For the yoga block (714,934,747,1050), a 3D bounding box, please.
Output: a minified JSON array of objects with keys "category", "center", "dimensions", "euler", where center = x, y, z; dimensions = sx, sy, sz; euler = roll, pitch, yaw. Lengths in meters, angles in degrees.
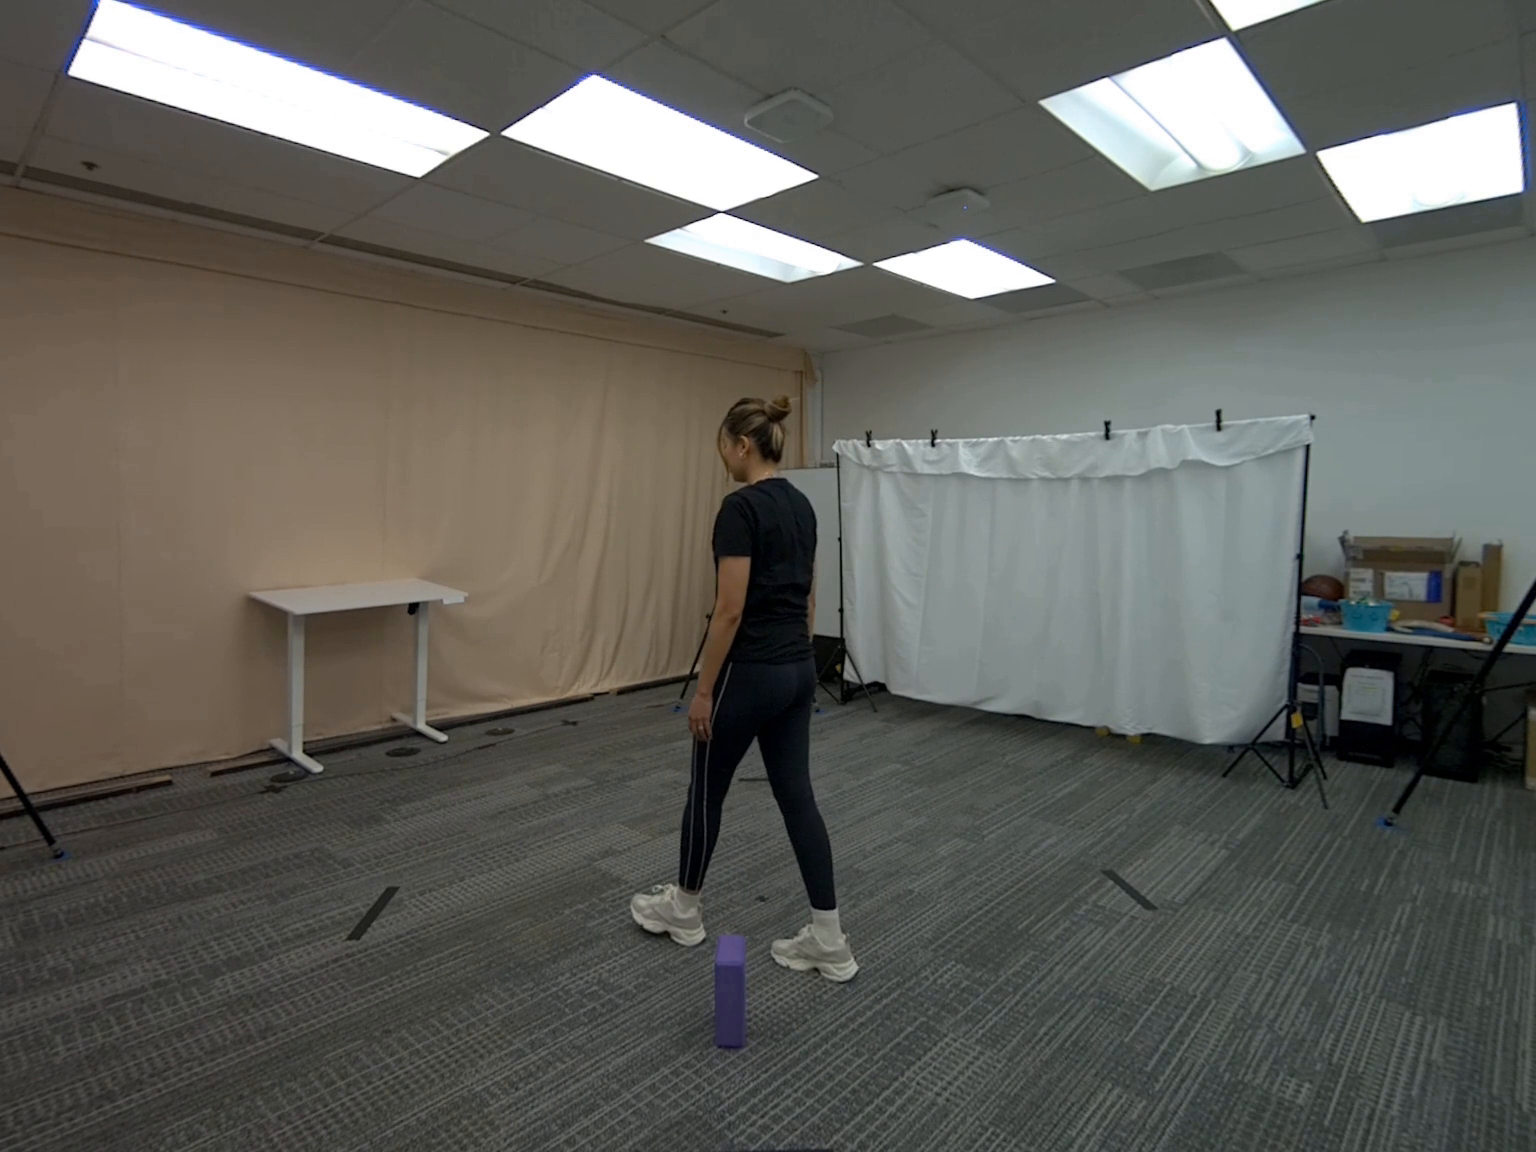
[{"category":"yoga block","center":[-0.096,1.094,2.218],"dimensions":[0.077,0.229,0.149],"euler":[1,3,2]}]
